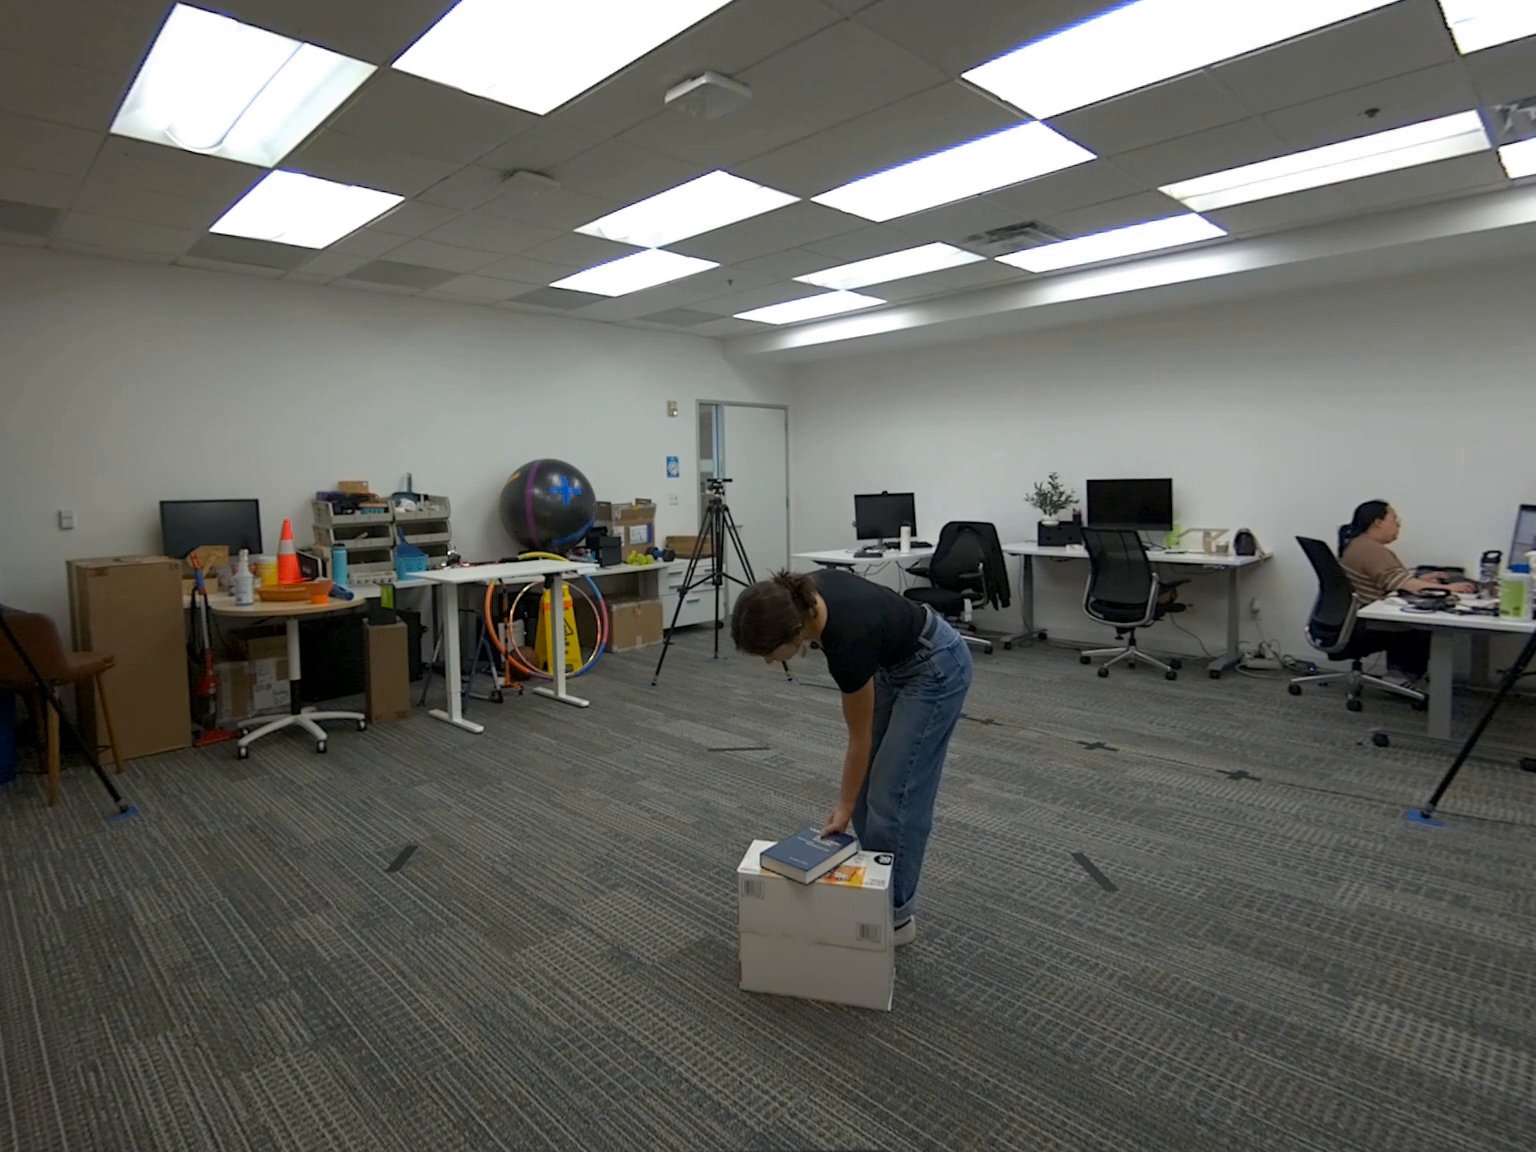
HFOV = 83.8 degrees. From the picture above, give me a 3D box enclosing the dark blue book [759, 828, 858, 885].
[{"bbox_3d":[0.121,0.771,2.364,0.168,0.045,0.239,6,10,42],"label":"dark blue book"}]
